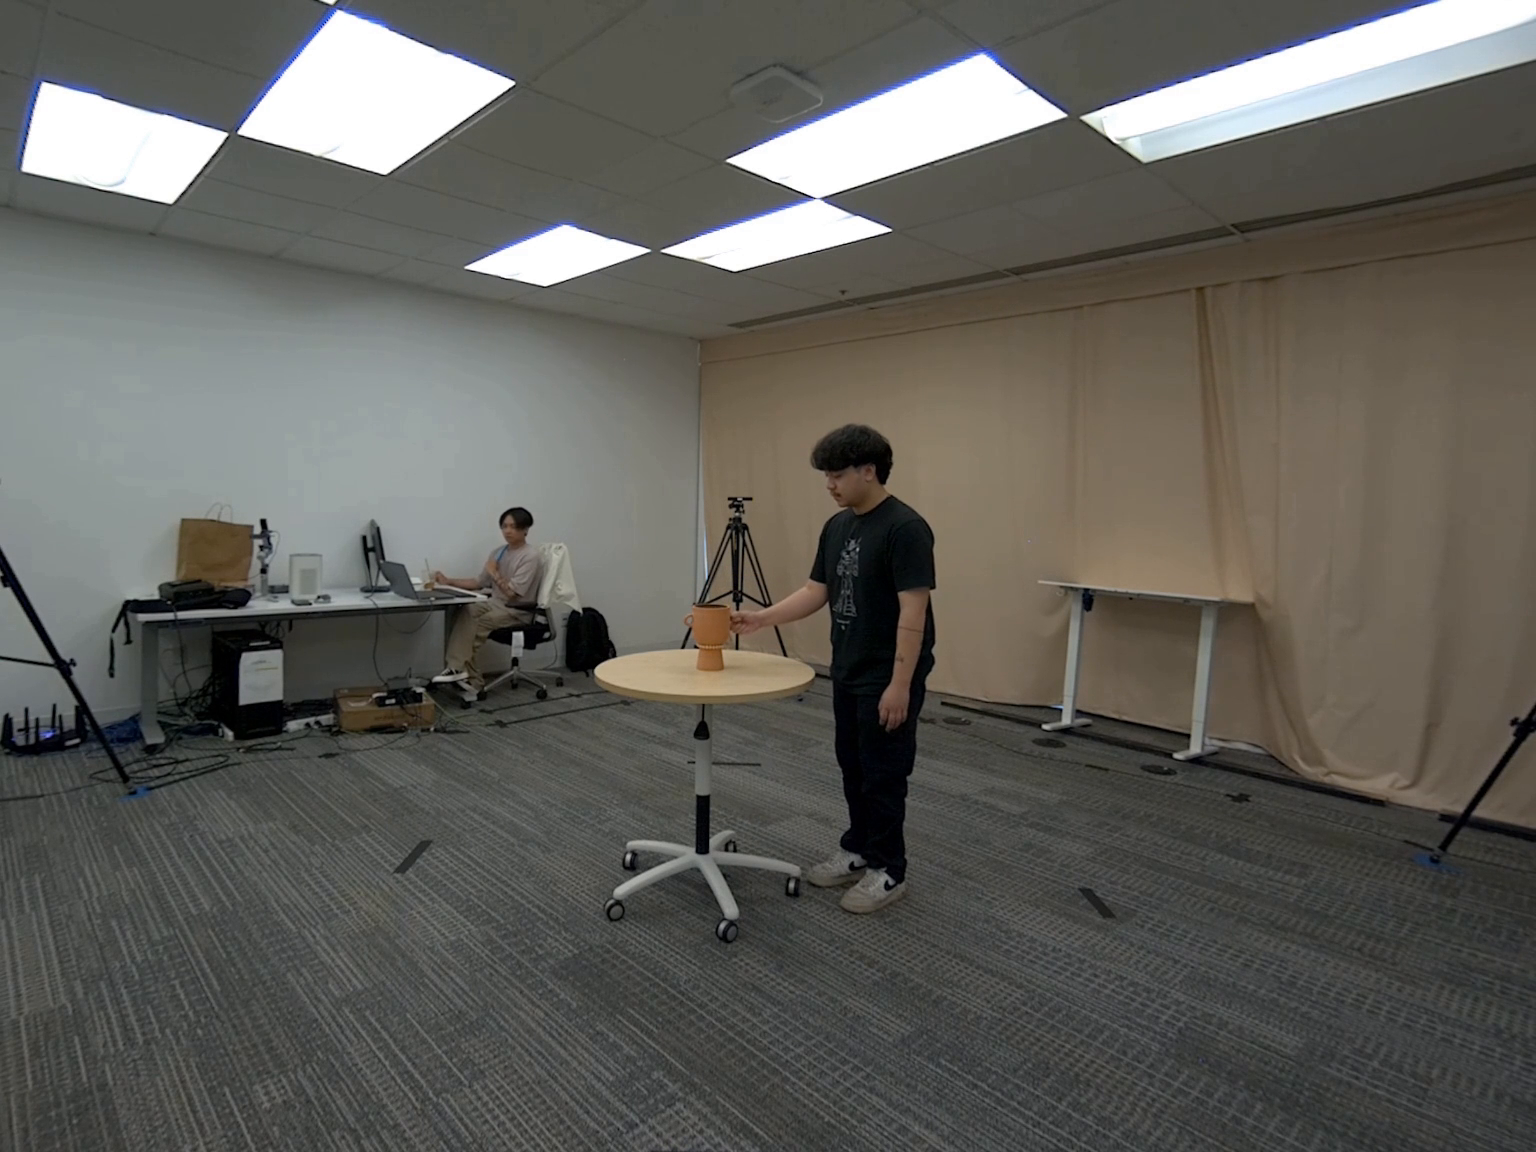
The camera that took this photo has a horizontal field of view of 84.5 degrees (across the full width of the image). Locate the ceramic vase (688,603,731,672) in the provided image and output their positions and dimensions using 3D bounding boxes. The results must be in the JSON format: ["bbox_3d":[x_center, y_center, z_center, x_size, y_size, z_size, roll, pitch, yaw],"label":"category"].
[{"bbox_3d":[-0.205,0.213,2.956,0.162,0.219,0.133,3,5,22],"label":"ceramic vase"}]
